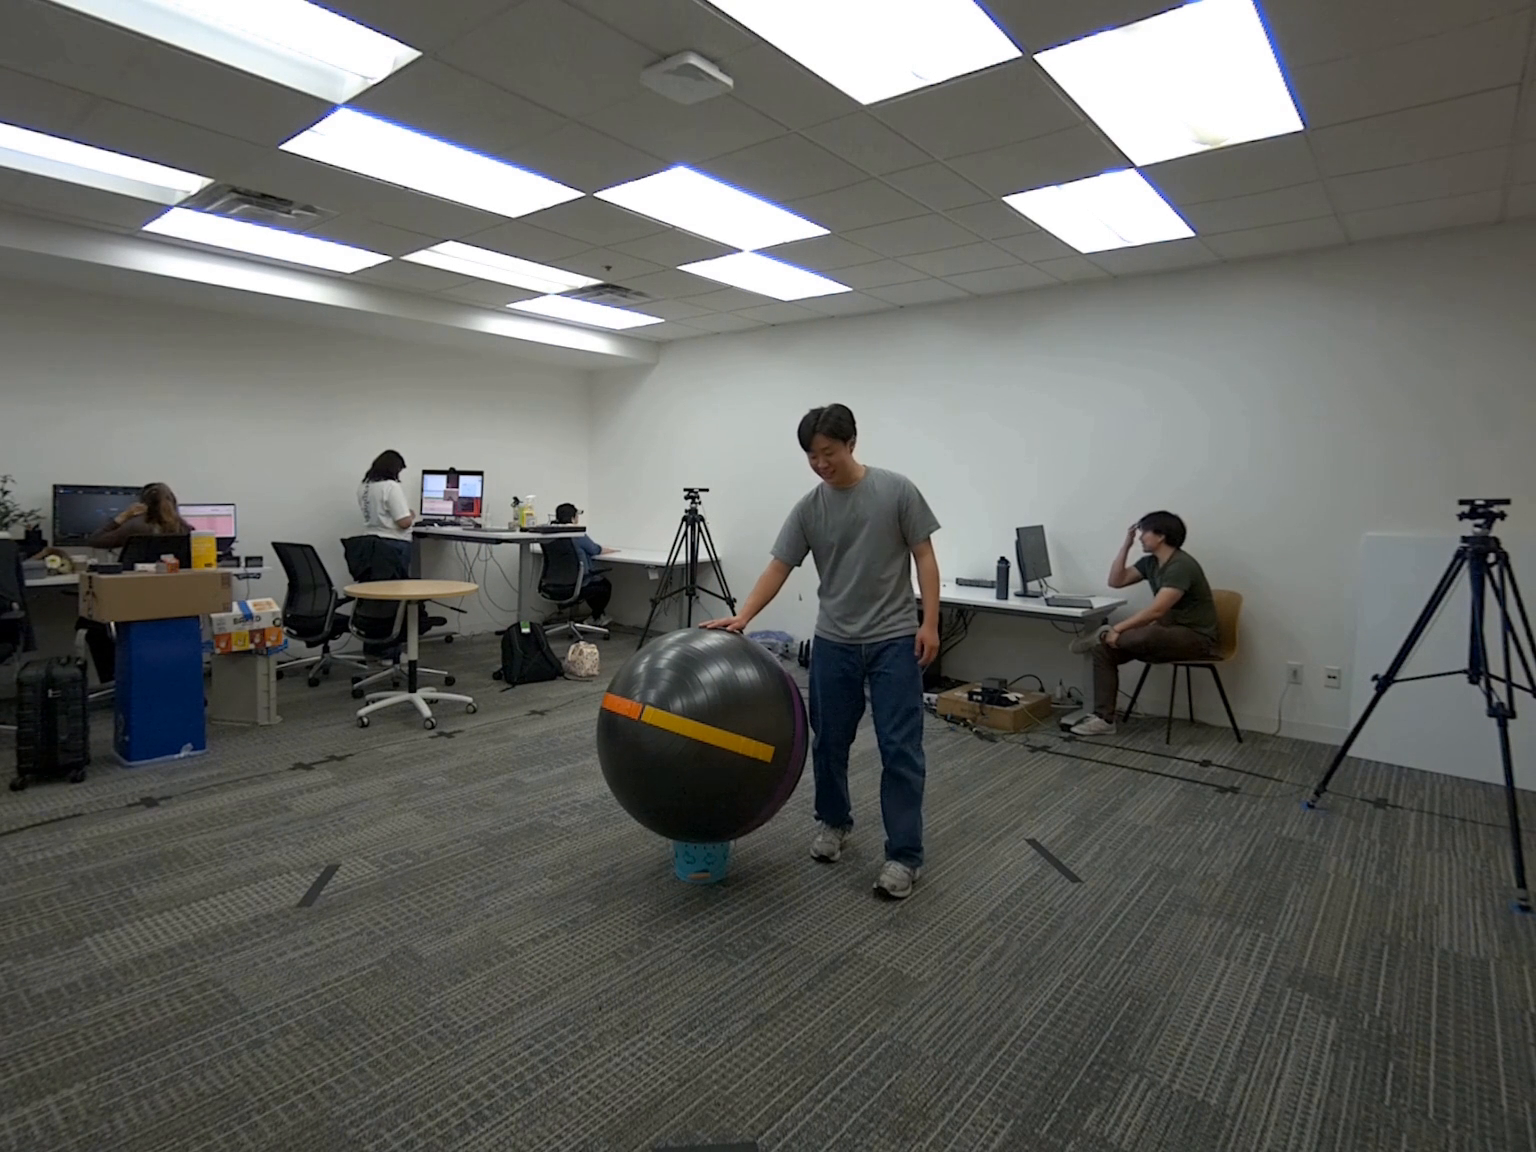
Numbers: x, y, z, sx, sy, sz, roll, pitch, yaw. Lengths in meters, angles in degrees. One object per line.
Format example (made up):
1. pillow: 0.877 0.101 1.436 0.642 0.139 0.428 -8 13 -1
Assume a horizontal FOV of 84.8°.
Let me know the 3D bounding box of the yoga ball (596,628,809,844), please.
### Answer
1. yoga ball: -0.250 0.563 3.062 0.757 0.755 0.762 1 4 -2
